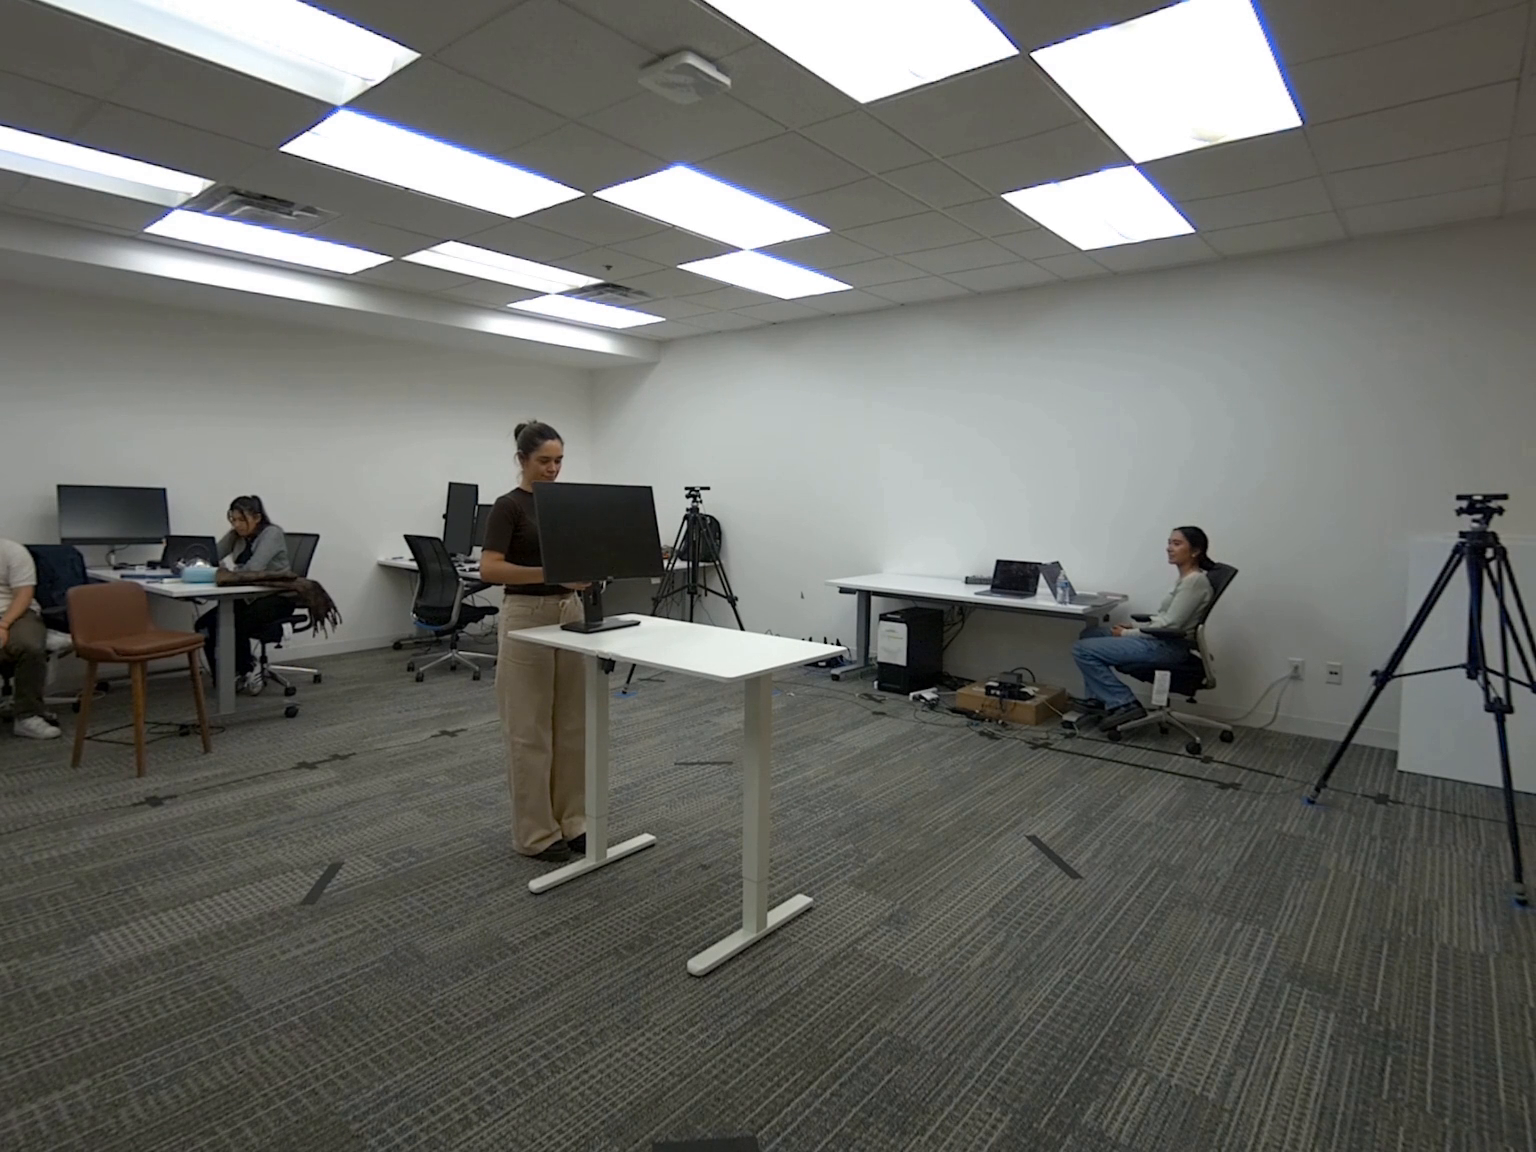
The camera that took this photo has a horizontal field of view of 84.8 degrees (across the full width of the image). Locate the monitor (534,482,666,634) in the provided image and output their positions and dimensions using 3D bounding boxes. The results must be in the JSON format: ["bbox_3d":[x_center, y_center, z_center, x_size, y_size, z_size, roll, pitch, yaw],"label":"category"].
[{"bbox_3d":[-0.626,-0.070,3.048,0.193,0.522,0.523,1,3,39],"label":"monitor"}]
